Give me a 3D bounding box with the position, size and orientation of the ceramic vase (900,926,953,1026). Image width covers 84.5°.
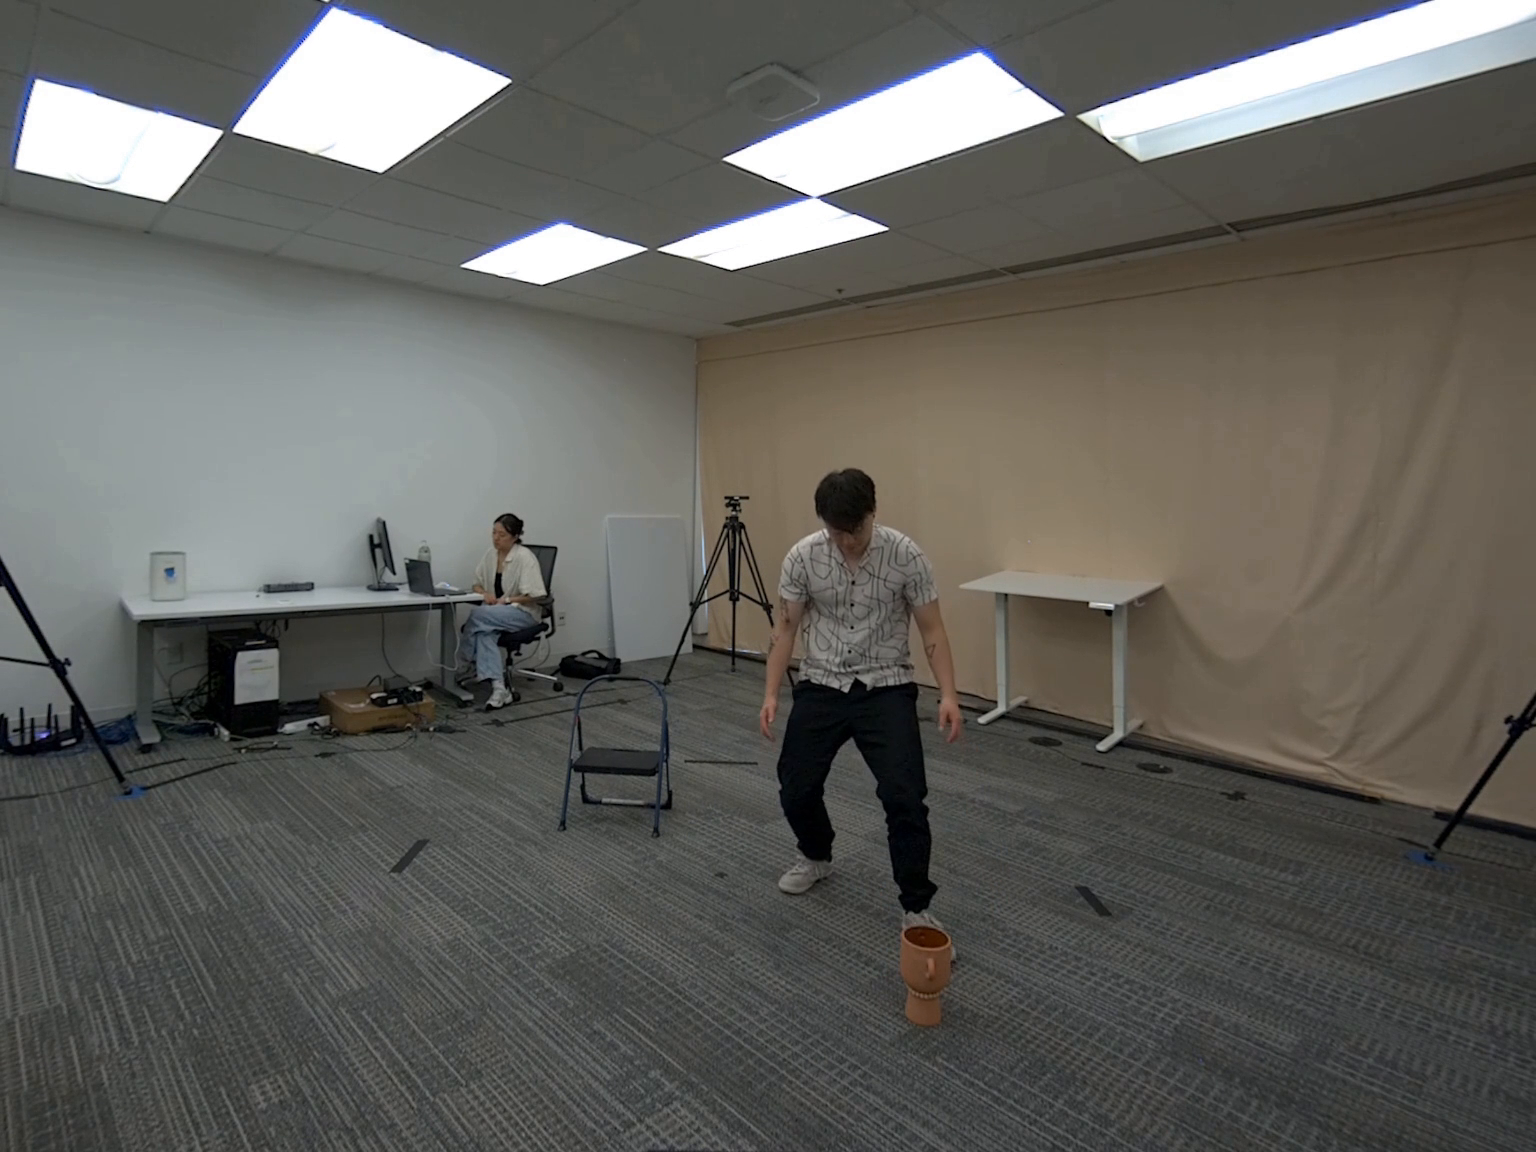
[{"bbox_3d":[0.413,1.086,2.275,0.138,0.219,0.155,3,4,38],"label":"ceramic vase"}]
